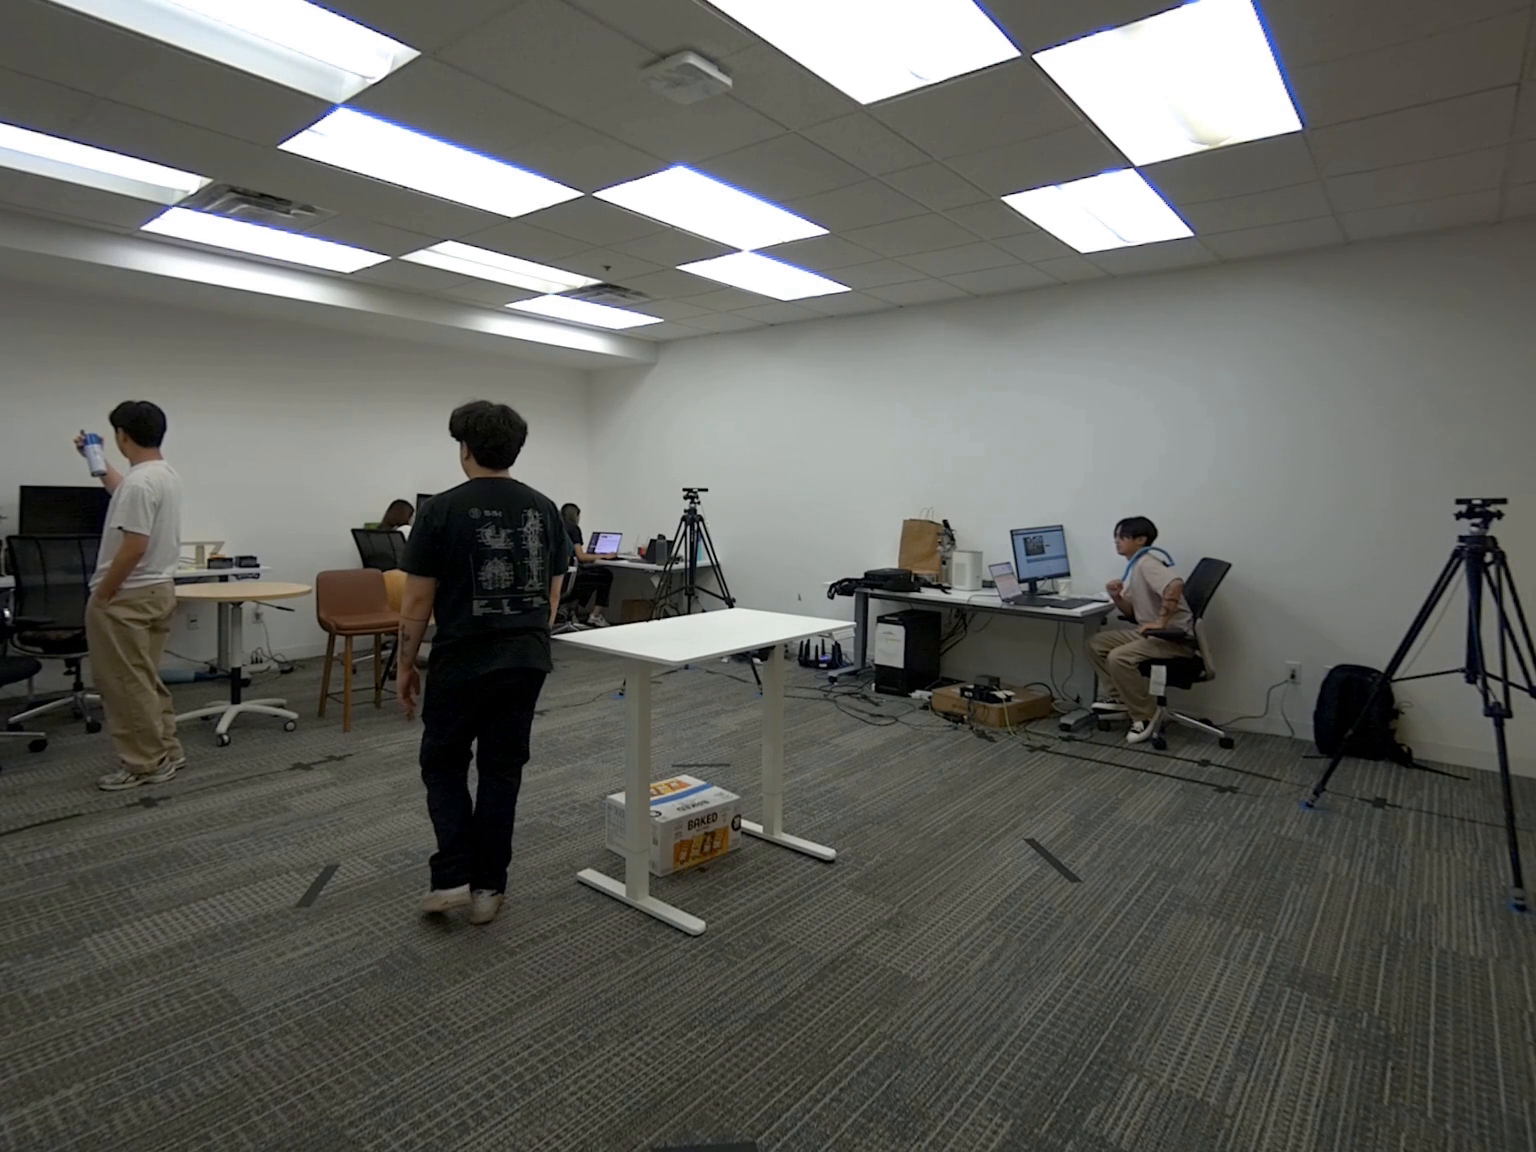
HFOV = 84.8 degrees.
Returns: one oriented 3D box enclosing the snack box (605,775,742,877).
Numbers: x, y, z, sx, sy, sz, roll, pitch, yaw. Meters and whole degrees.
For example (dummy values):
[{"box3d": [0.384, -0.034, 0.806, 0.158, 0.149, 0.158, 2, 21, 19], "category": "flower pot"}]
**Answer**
[{"box3d": [-0.372, 0.951, 3.279, 0.393, 0.205, 0.352, -4, 7, -44], "category": "snack box"}]
